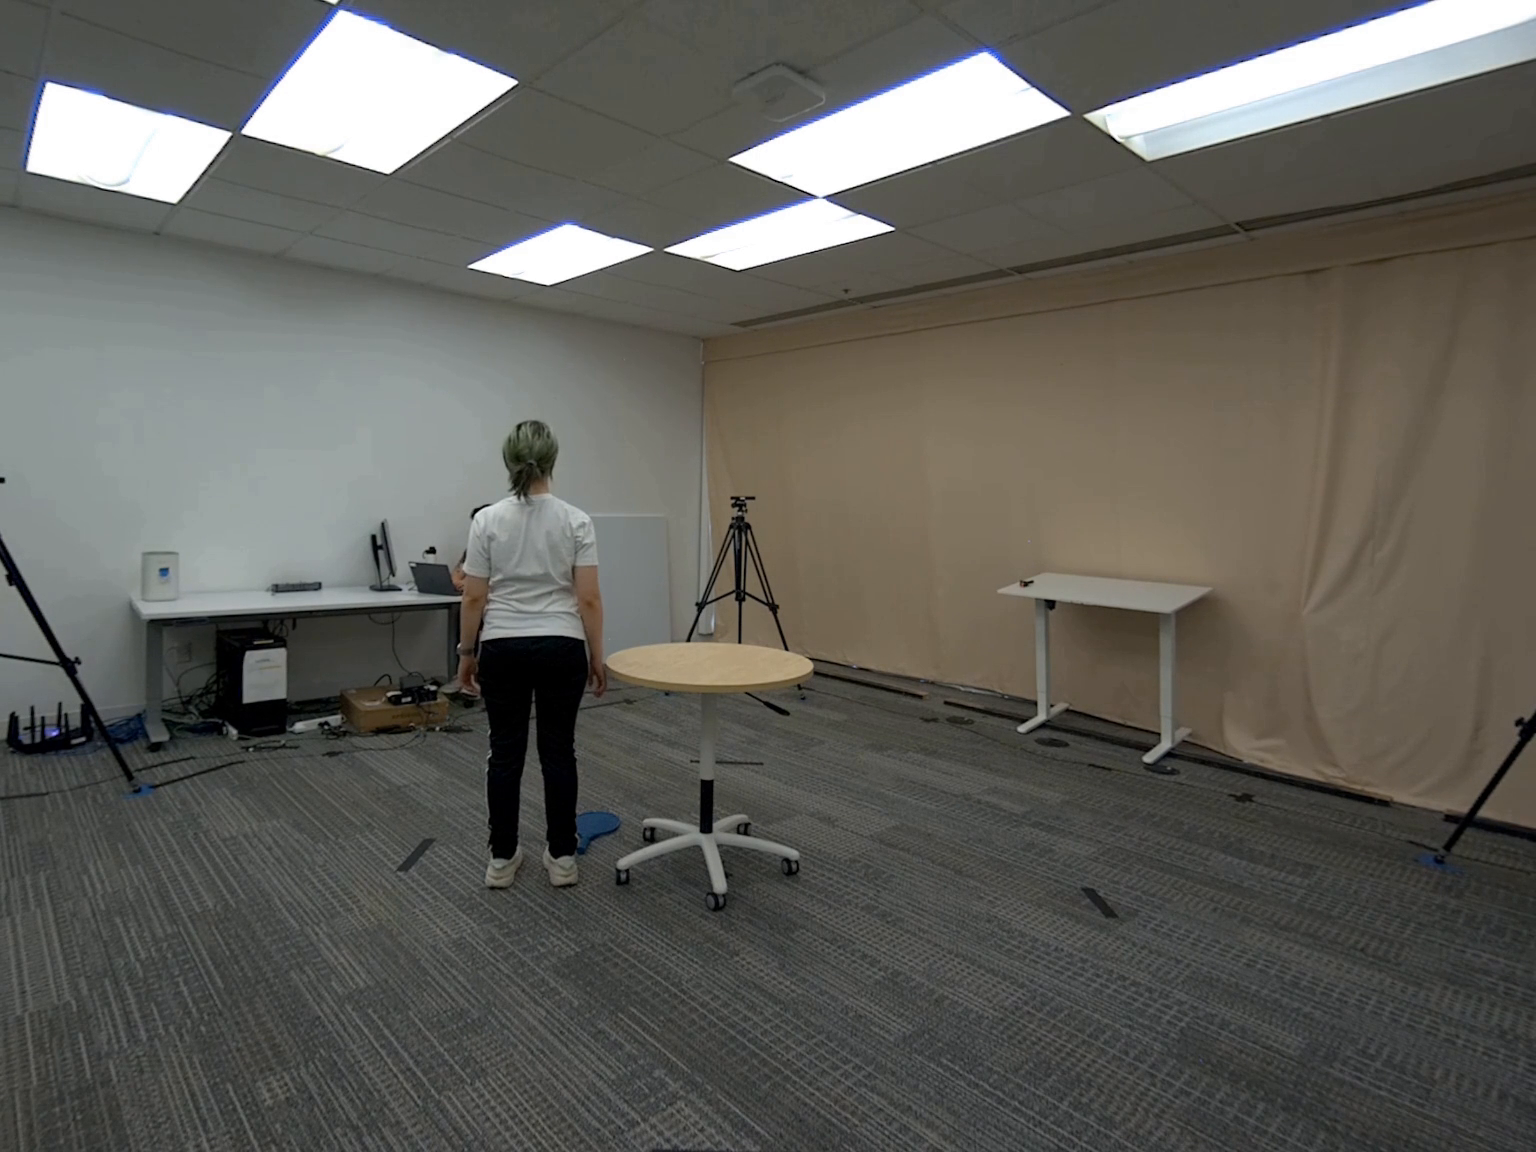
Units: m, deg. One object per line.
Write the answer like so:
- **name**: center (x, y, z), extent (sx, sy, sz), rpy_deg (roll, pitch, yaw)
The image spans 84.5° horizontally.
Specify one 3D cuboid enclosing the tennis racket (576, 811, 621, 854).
- **tennis racket**: center (-0.732, 1.044, 3.461), extent (0.214, 0.032, 0.433), rpy_deg (3, 4, 0)
